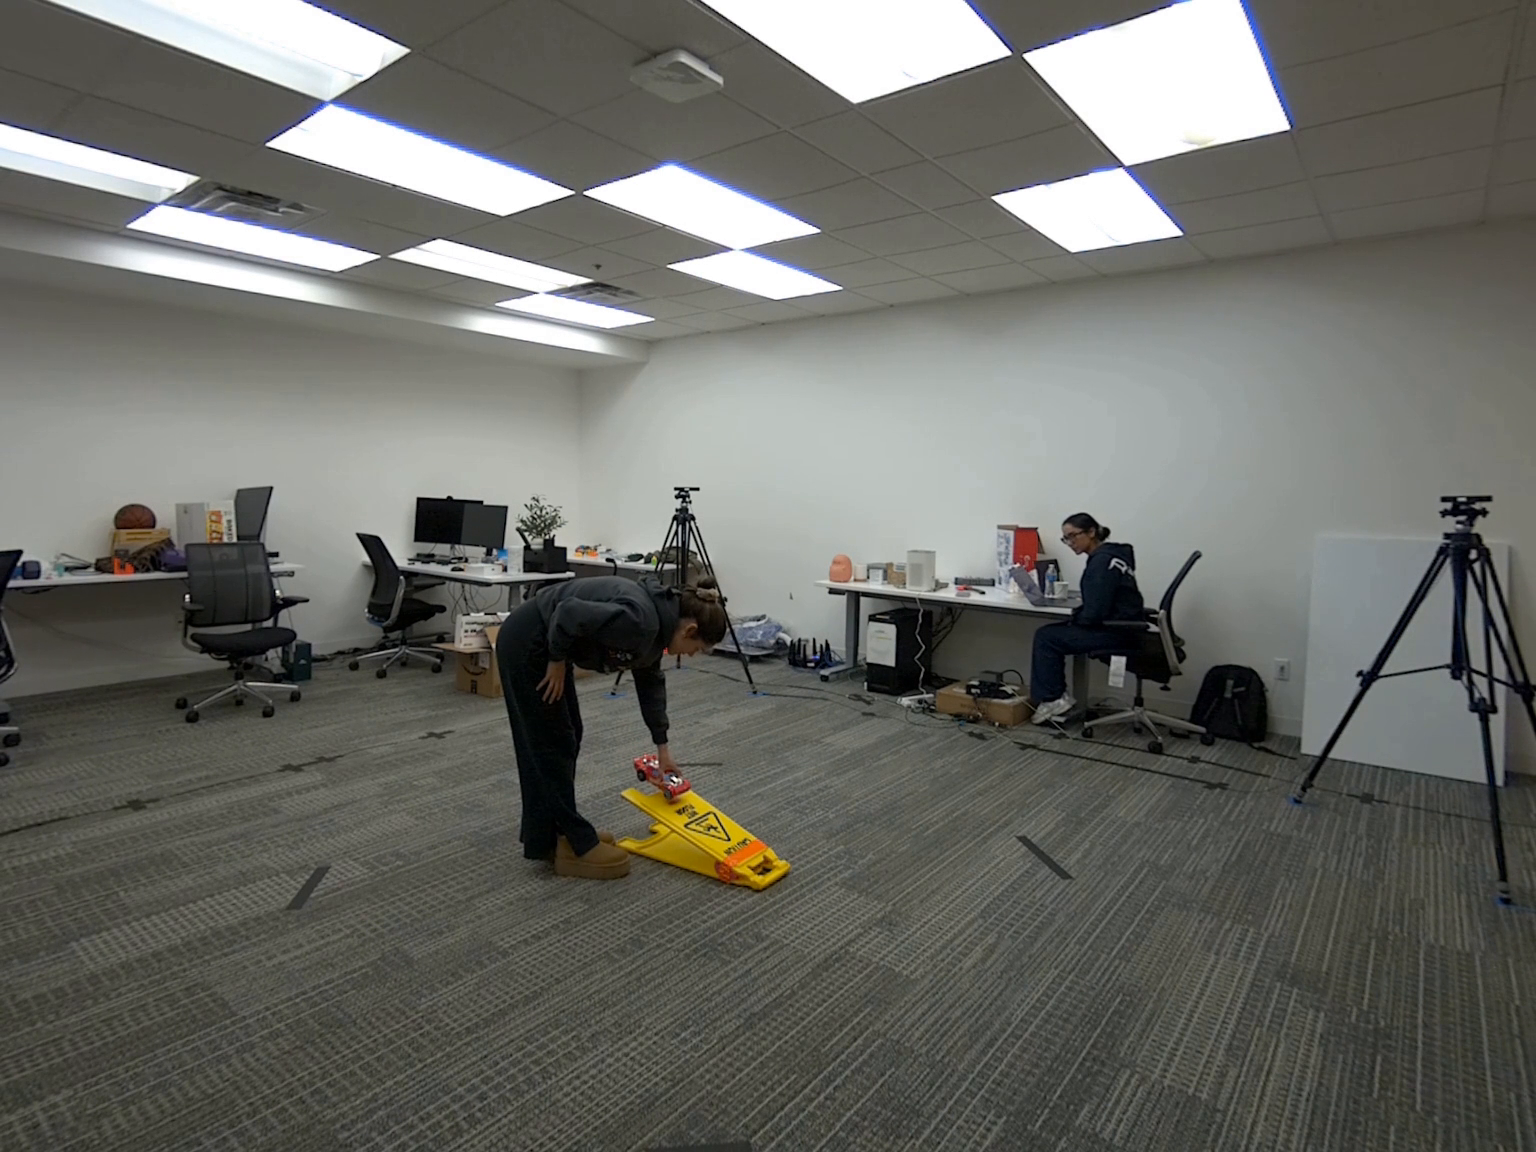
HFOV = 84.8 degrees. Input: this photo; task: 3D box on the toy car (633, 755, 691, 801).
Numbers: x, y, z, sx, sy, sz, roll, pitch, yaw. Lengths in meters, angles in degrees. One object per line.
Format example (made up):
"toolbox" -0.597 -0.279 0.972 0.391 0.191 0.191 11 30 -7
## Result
"toy car" -0.428 0.788 3.317 0.264 0.082 0.127 35 27 32
